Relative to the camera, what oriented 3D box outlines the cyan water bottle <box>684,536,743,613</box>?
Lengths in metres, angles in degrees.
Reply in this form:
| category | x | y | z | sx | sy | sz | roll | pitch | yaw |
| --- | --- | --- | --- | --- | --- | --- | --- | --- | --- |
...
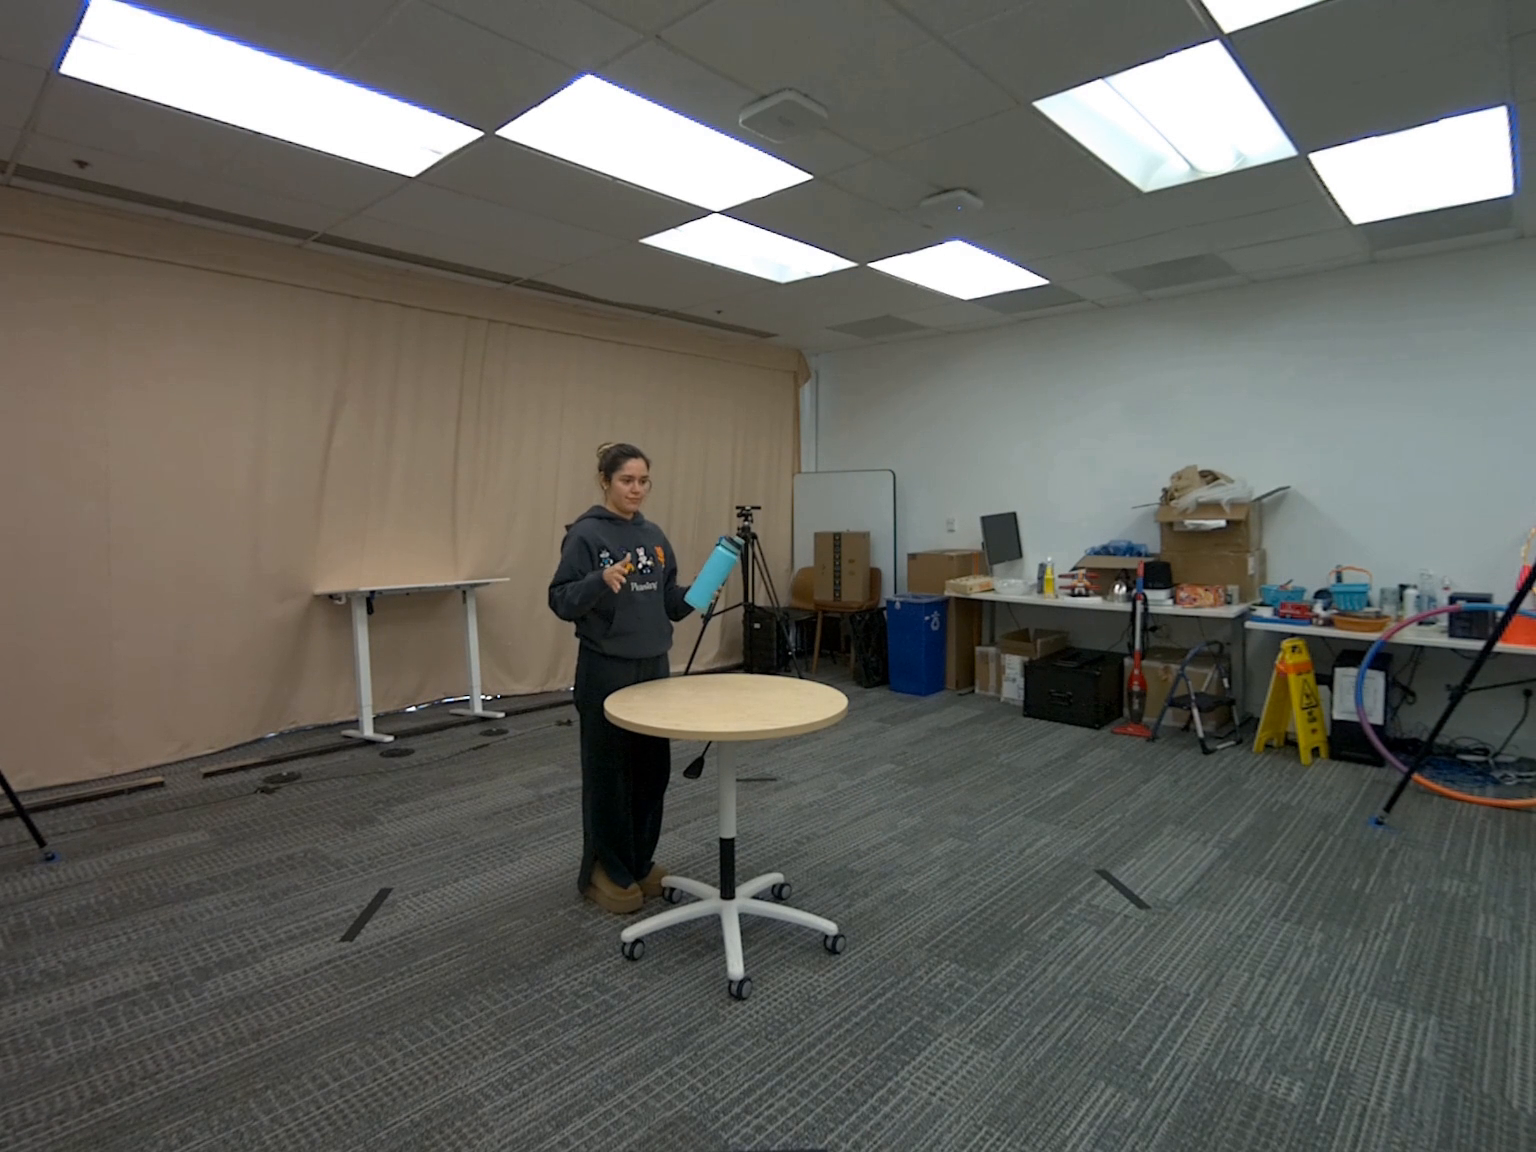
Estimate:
| category | x | y | z | sx | sy | sz | roll | pitch | yaw |
| --- | --- | --- | --- | --- | --- | --- | --- | --- | --- |
| cyan water bottle | -0.184 | -0.027 | 2.923 | 0.092 | 0.283 | 0.093 | 29 | 5 | -5 |
